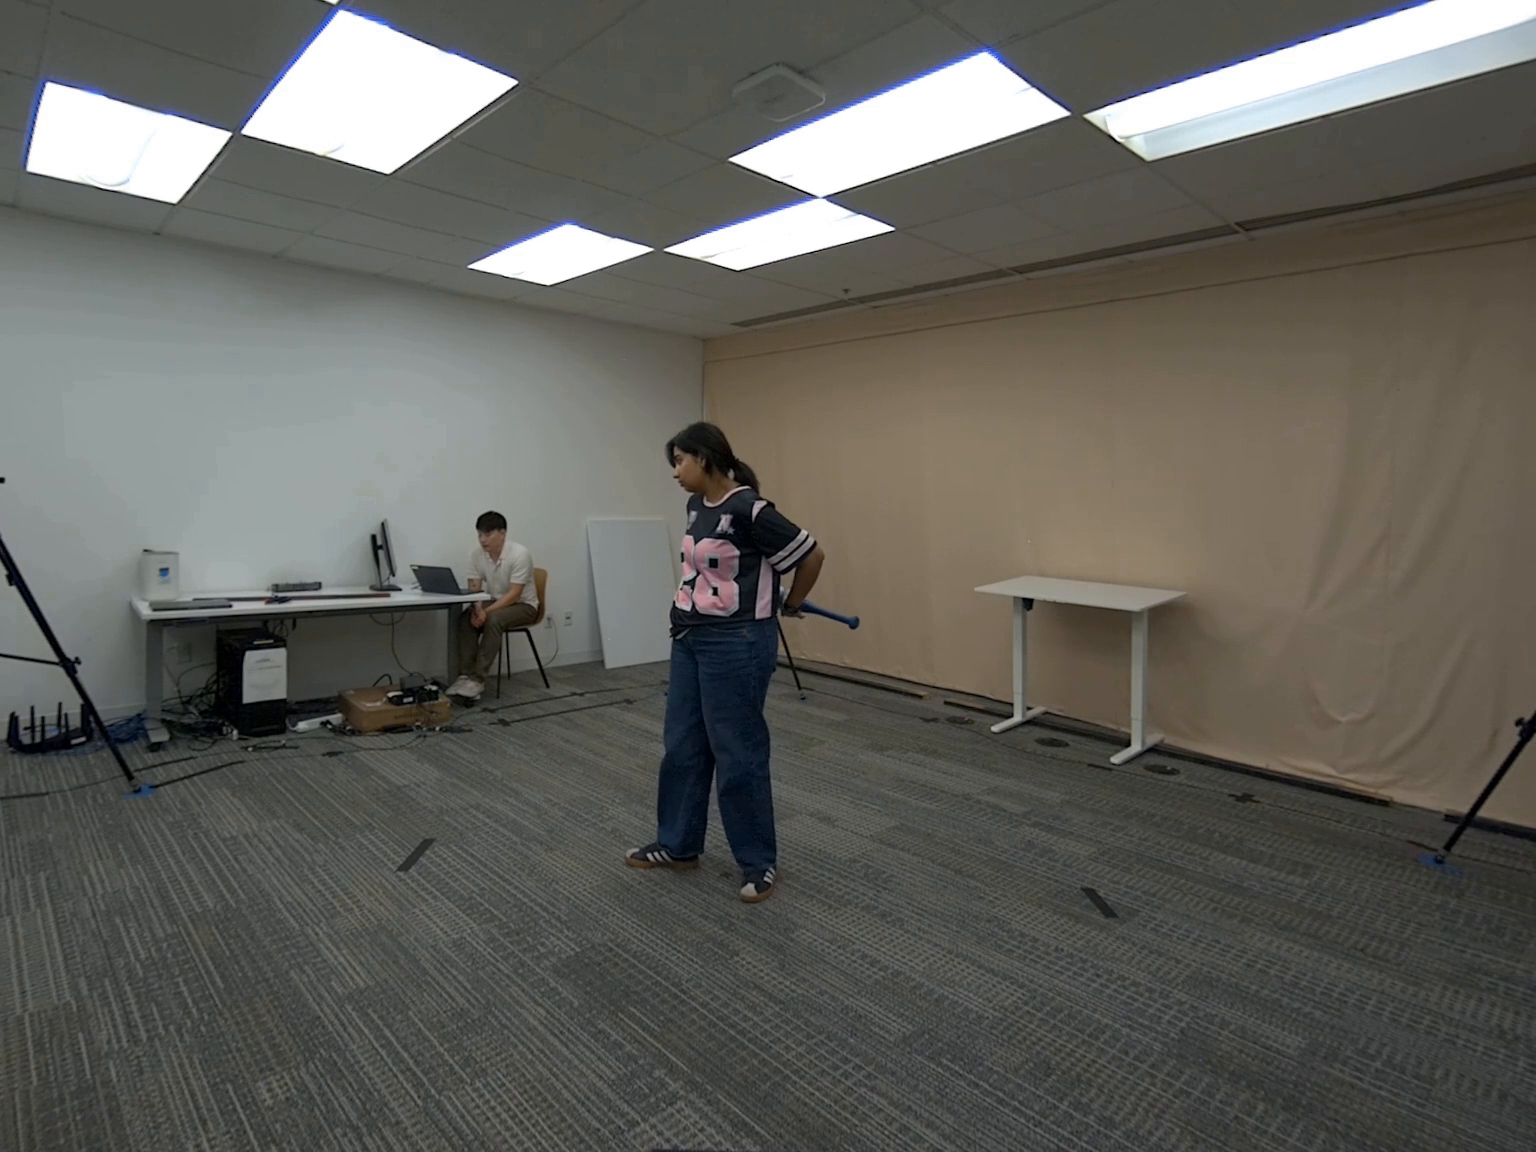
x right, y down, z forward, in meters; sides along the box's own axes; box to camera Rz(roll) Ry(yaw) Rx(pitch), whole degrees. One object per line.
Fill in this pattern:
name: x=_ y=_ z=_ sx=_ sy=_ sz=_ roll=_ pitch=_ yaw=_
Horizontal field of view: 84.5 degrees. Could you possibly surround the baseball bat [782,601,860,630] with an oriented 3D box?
baseball bat: x=0.105 y=0.114 z=3.144 sx=0.559 sy=0.088 sz=0.087 roll=18 pitch=14 yaw=40
